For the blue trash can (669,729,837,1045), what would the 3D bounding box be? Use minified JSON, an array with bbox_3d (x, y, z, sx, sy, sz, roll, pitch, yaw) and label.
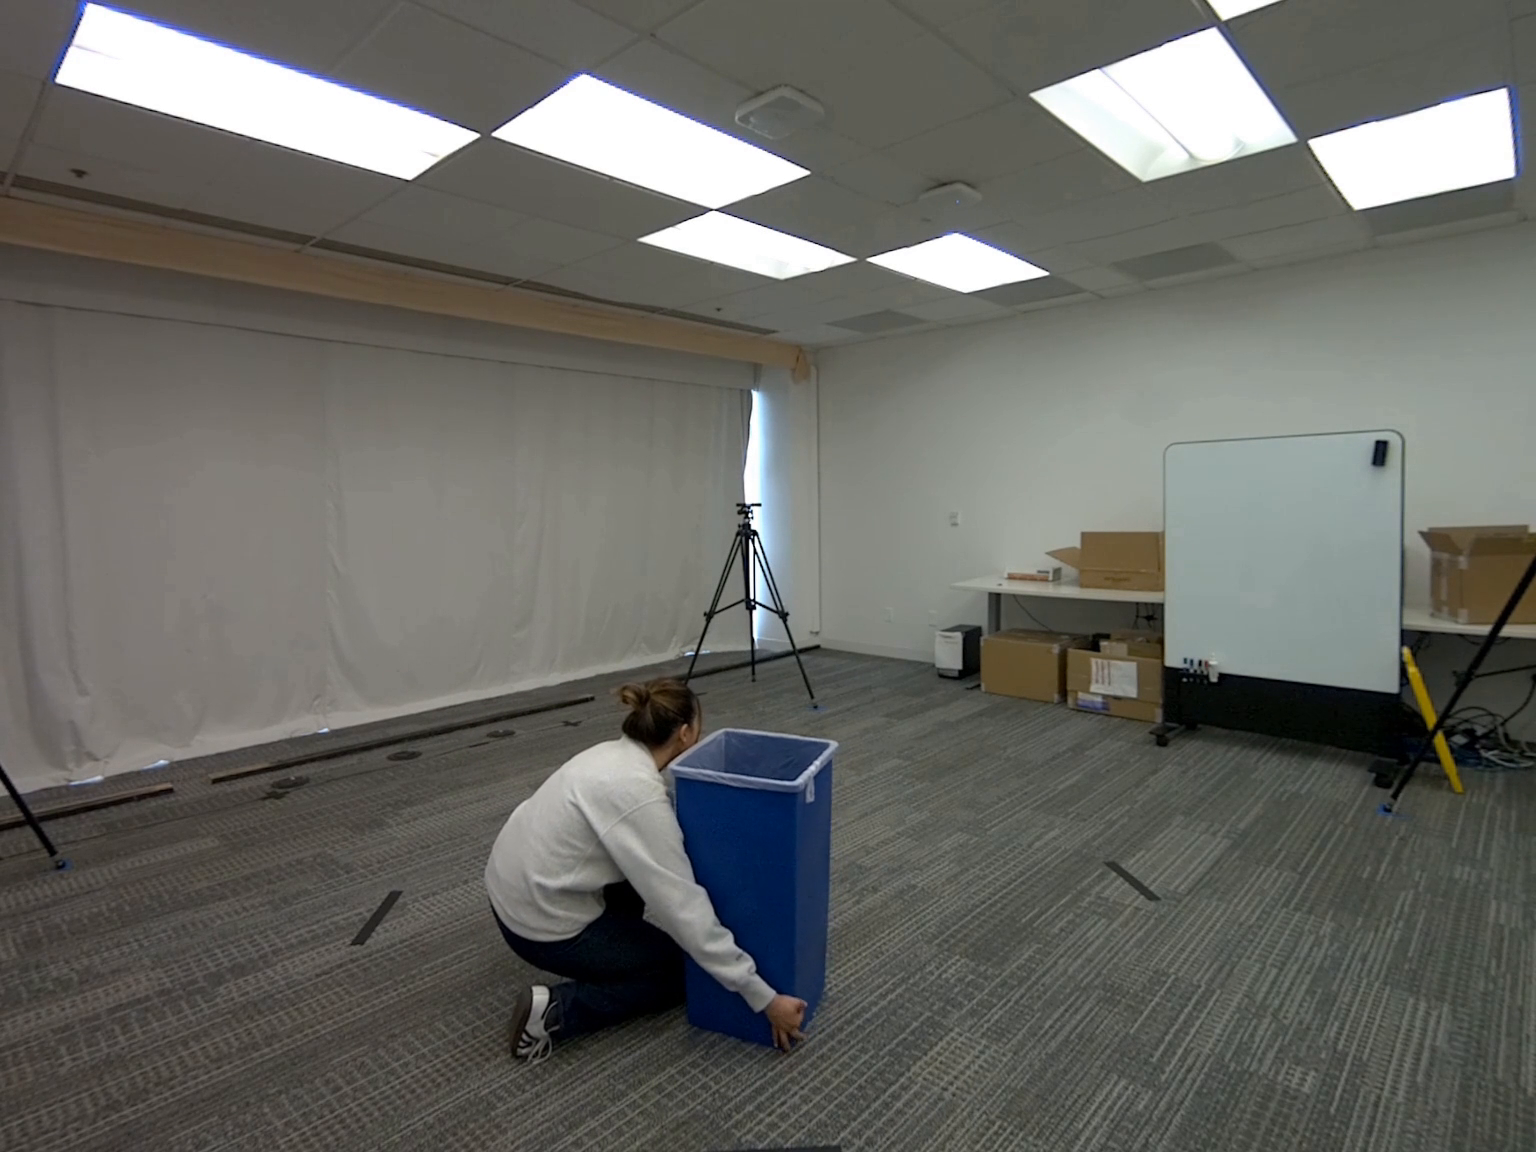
[{"bbox_3d":[-0.033,0.831,2.291,0.383,0.711,0.370,2,5,22],"label":"blue trash can"}]
